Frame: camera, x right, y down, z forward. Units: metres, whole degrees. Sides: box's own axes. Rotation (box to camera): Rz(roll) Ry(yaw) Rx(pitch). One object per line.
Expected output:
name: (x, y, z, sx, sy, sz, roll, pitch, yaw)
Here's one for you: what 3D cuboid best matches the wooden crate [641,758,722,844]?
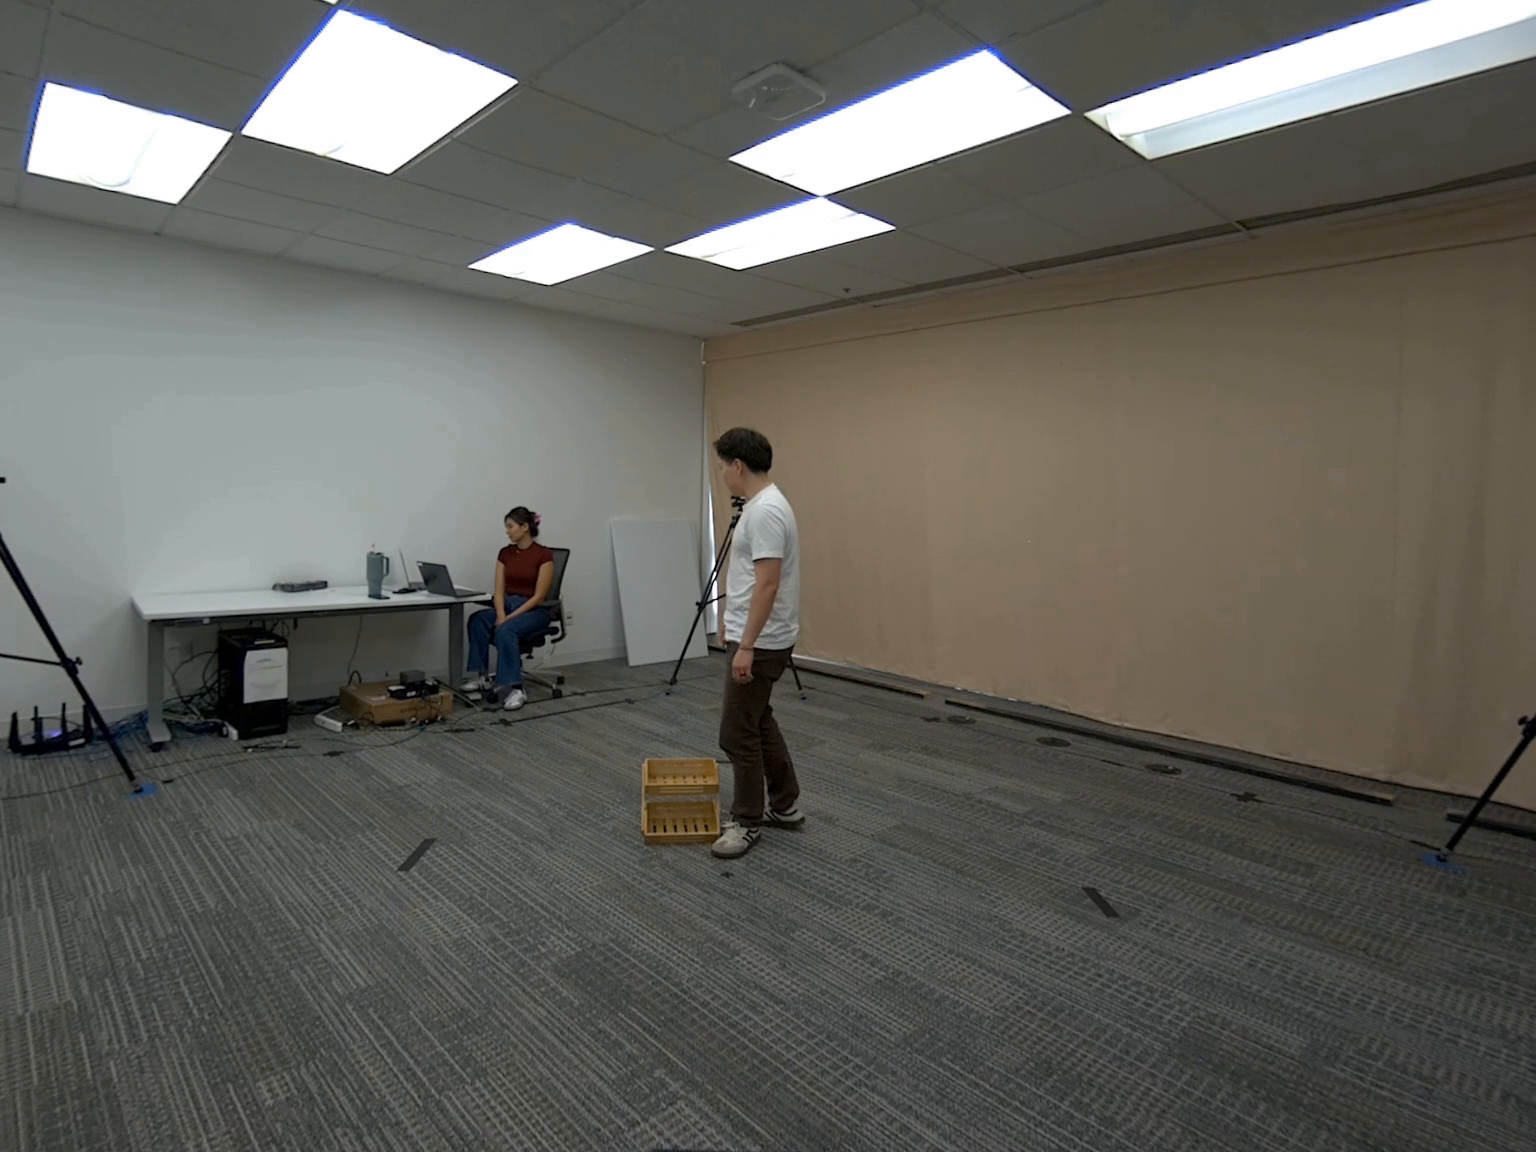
wooden crate: (-0.364, 0.924, 3.491, 0.322, 0.273, 0.304, 1, 3, -8)
